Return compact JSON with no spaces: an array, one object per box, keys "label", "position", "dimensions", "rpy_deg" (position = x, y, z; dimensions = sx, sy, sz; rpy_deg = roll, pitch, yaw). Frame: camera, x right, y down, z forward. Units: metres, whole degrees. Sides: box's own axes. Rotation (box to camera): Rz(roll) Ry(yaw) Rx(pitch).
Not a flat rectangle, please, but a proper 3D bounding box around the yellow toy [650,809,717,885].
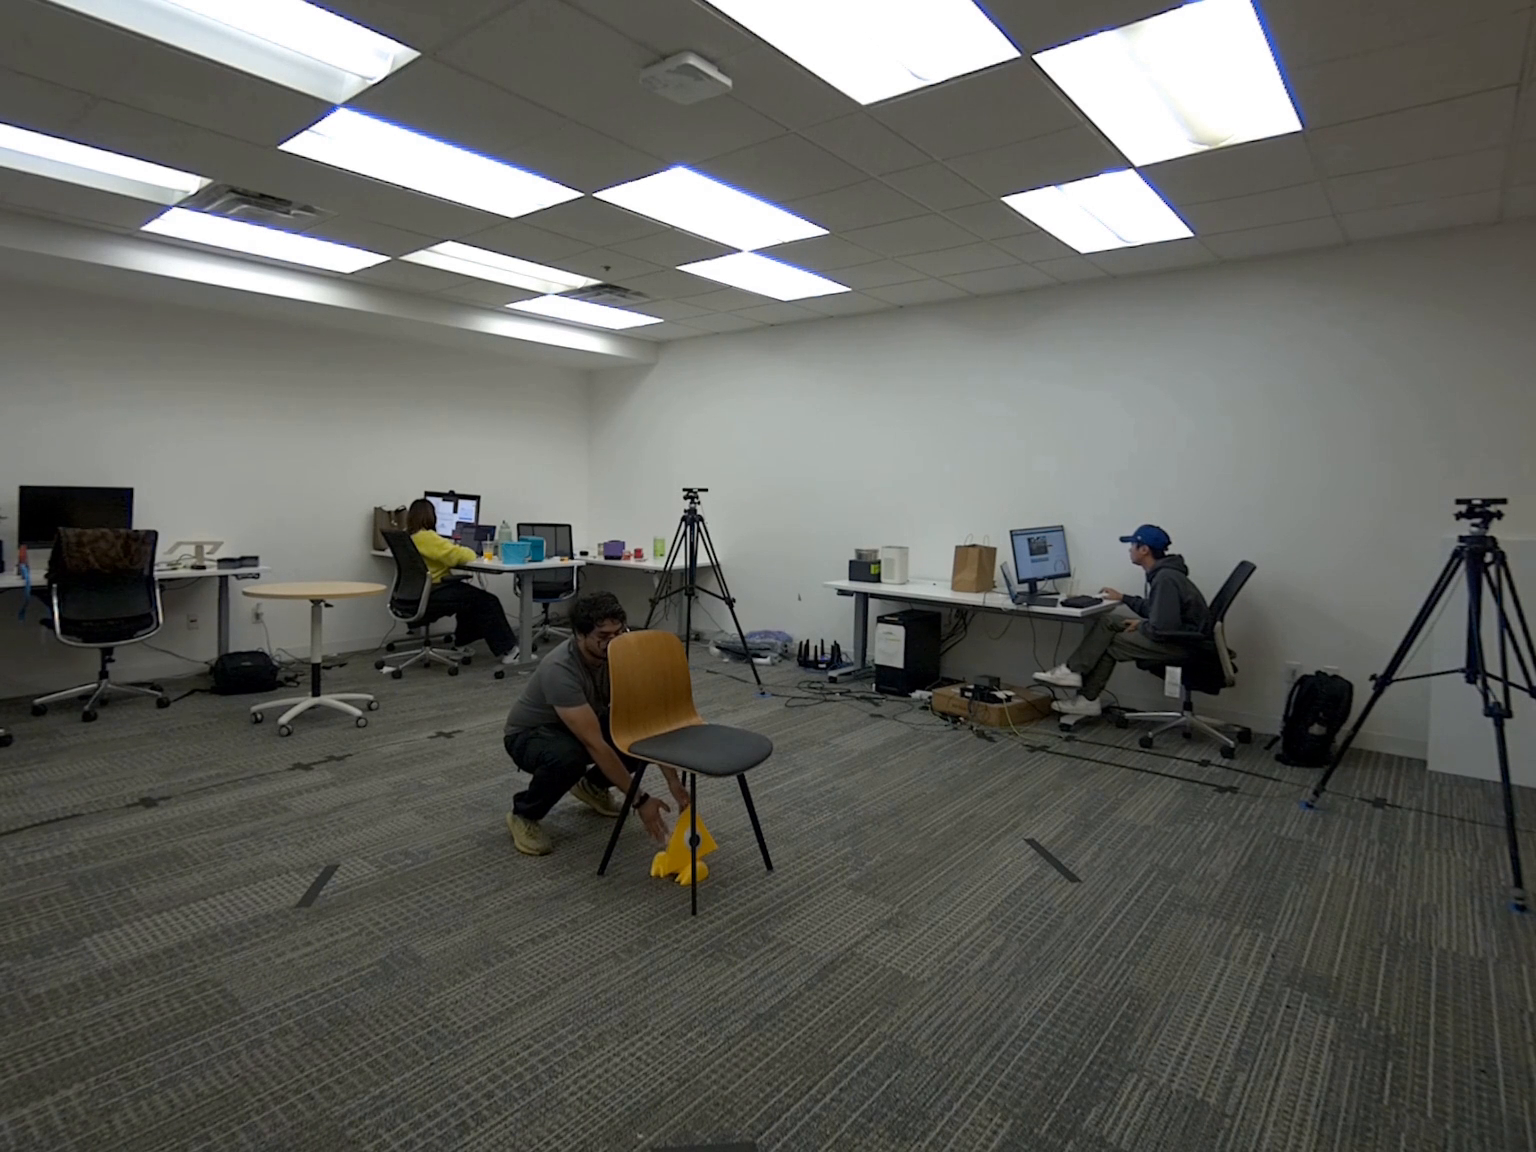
[{"label":"yellow toy","position":[-0.319,0.961,3.087],"dimensions":[0.211,0.230,0.187],"rpy_deg":[4,3,32]}]
